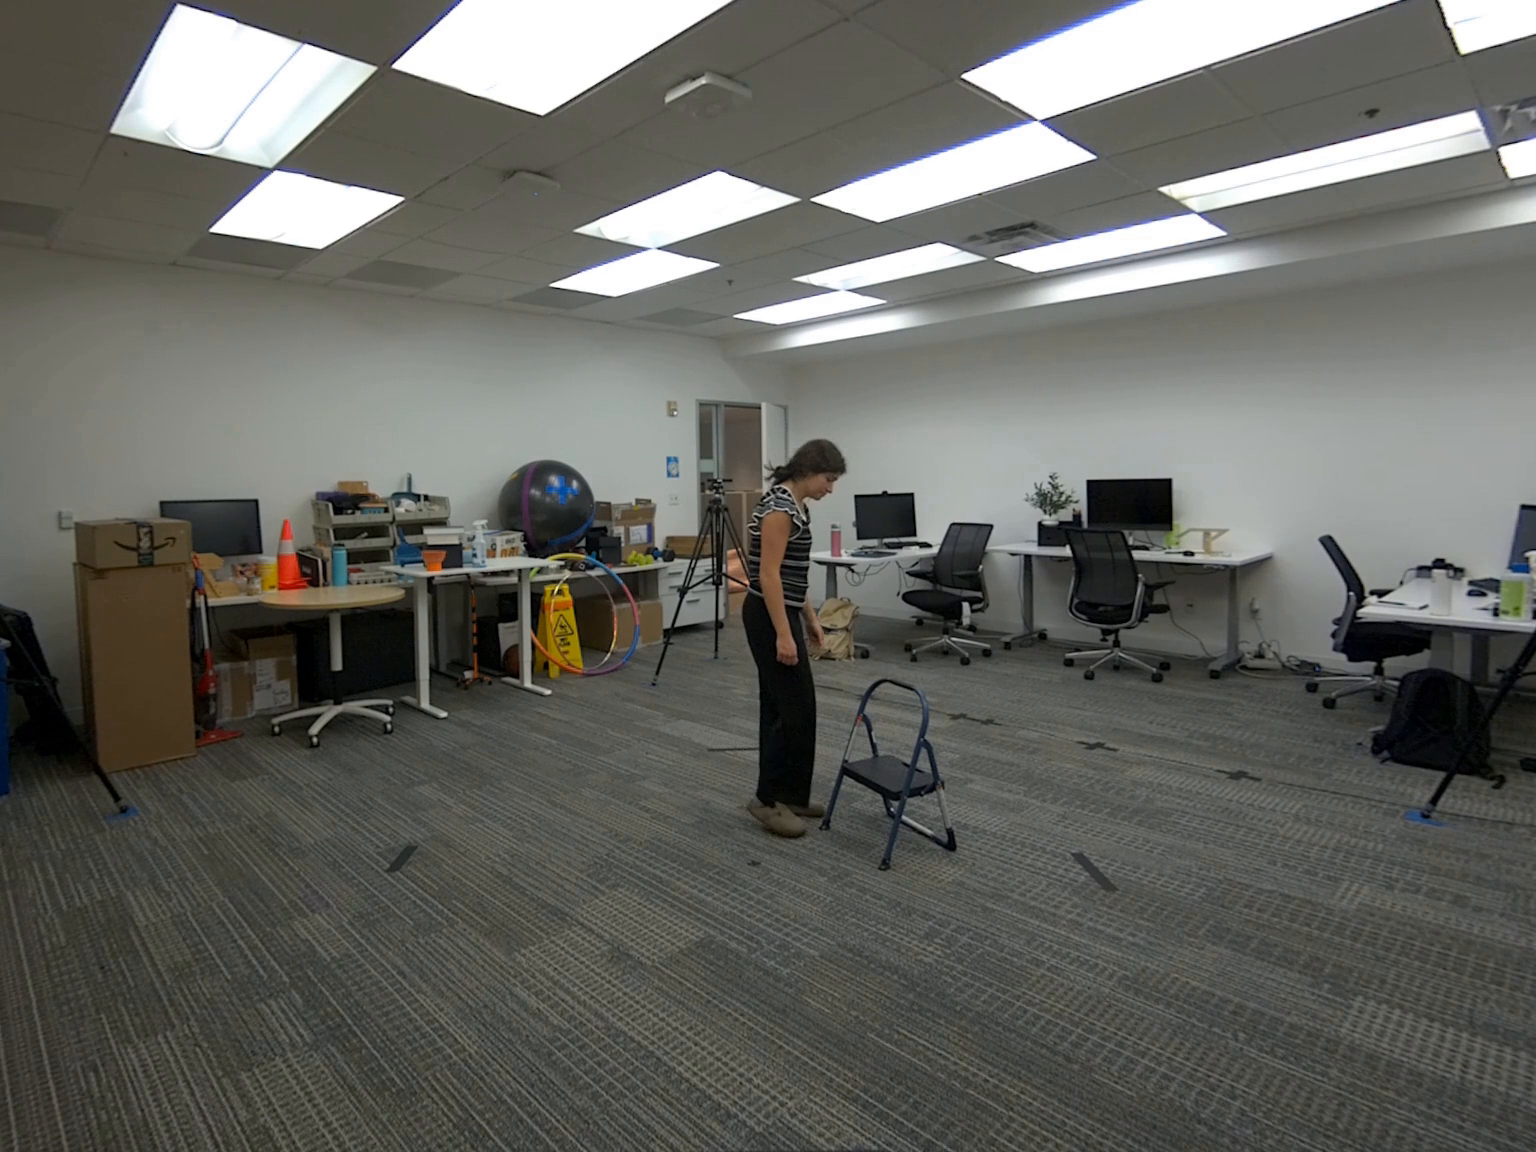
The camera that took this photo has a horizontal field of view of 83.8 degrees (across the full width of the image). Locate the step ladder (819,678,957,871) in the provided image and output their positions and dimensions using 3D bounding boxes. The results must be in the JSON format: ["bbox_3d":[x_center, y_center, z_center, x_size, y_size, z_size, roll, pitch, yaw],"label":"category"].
[{"bbox_3d":[0.455,0.715,3.274,0.341,0.604,0.442,-2,5,-28],"label":"step ladder"}]
